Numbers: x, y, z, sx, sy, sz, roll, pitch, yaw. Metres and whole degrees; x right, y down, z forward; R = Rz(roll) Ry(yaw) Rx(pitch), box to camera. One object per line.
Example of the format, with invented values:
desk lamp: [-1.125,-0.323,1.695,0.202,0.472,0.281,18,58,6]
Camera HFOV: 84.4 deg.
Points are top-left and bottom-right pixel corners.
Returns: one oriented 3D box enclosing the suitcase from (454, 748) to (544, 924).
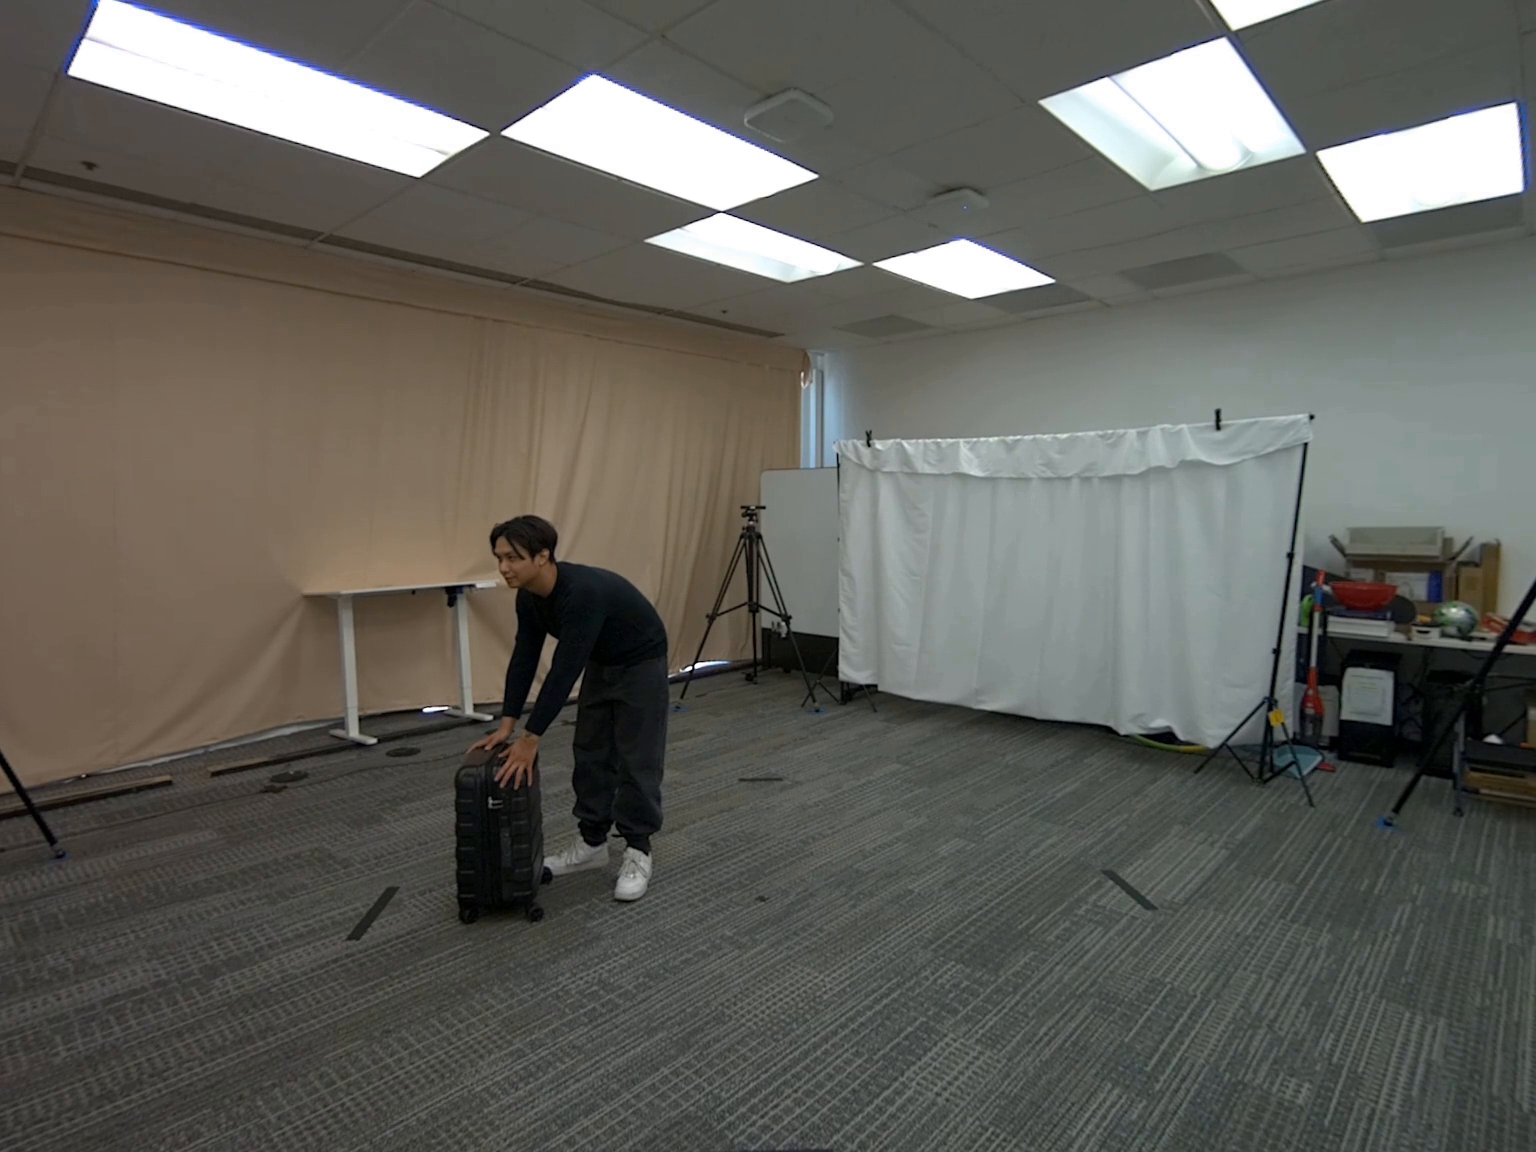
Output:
suitcase: [-0.946,0.878,2.952,0.247,0.548,0.378,-1,3,-7]
